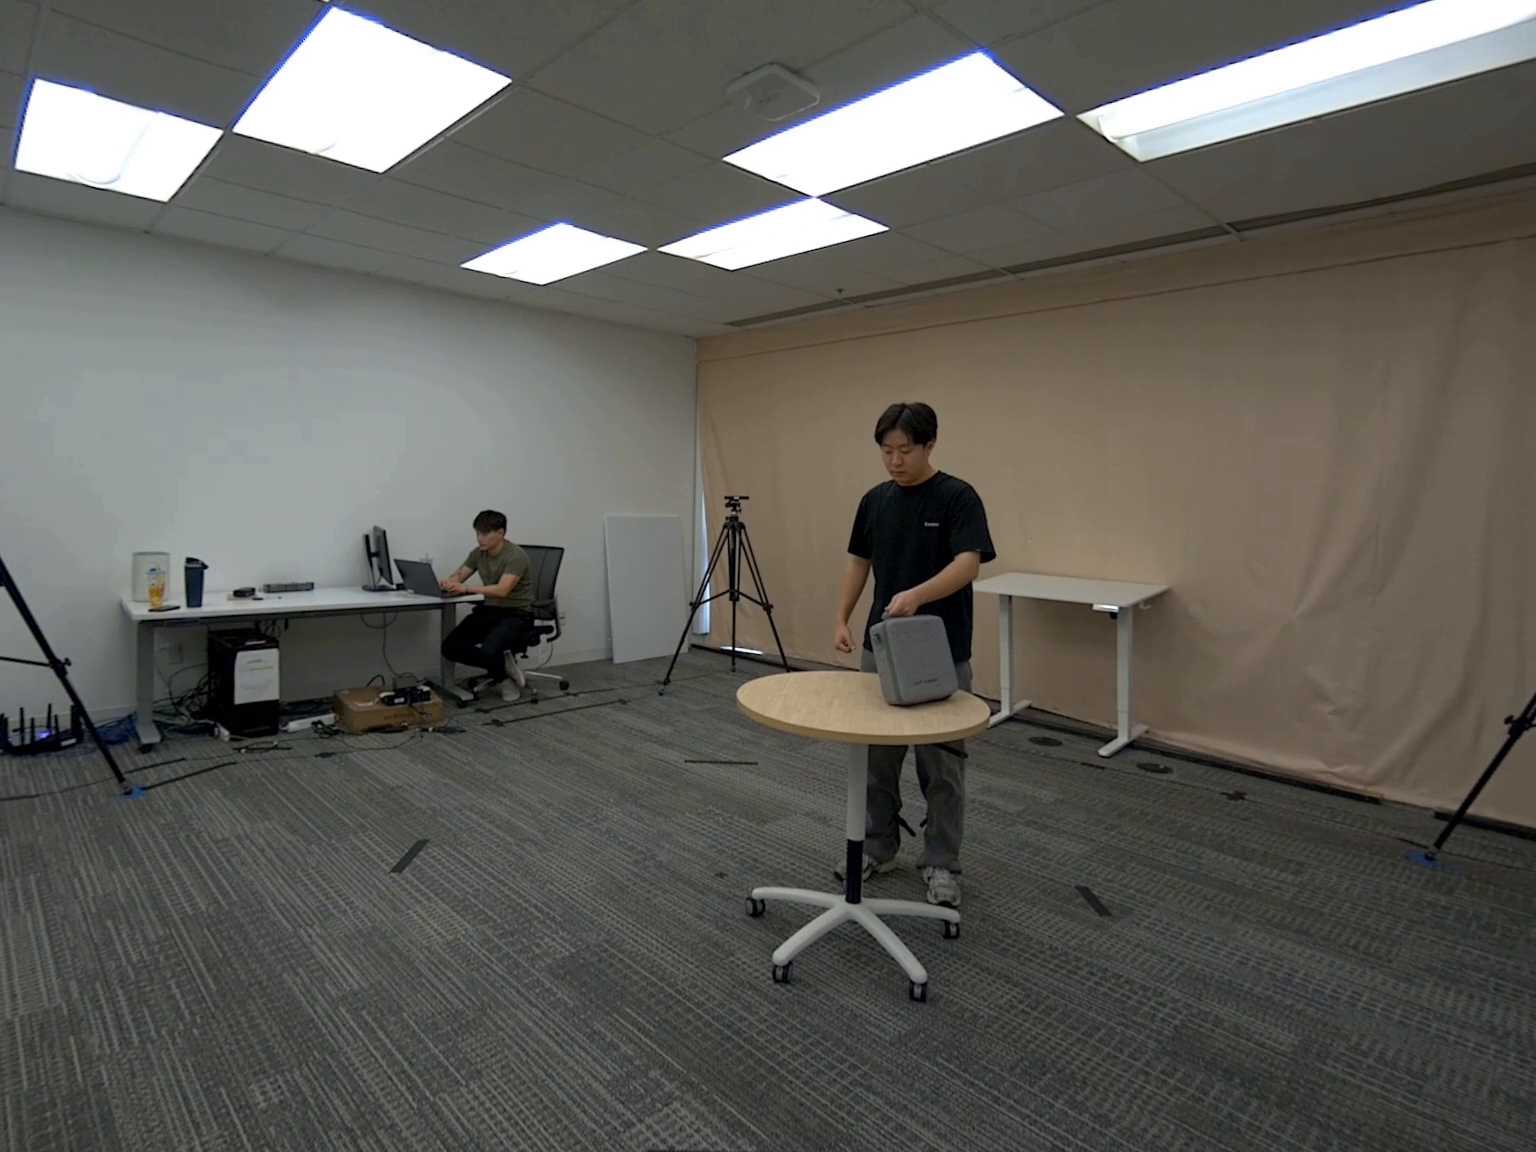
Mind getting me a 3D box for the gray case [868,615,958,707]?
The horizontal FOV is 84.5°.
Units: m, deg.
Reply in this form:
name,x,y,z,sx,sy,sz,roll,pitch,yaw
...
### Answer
name,x,y,z,sx,sy,sz,roll,pitch,yaw
gray case,0.438,0.248,2.585,0.257,0.290,0.104,-1,-16,-36
